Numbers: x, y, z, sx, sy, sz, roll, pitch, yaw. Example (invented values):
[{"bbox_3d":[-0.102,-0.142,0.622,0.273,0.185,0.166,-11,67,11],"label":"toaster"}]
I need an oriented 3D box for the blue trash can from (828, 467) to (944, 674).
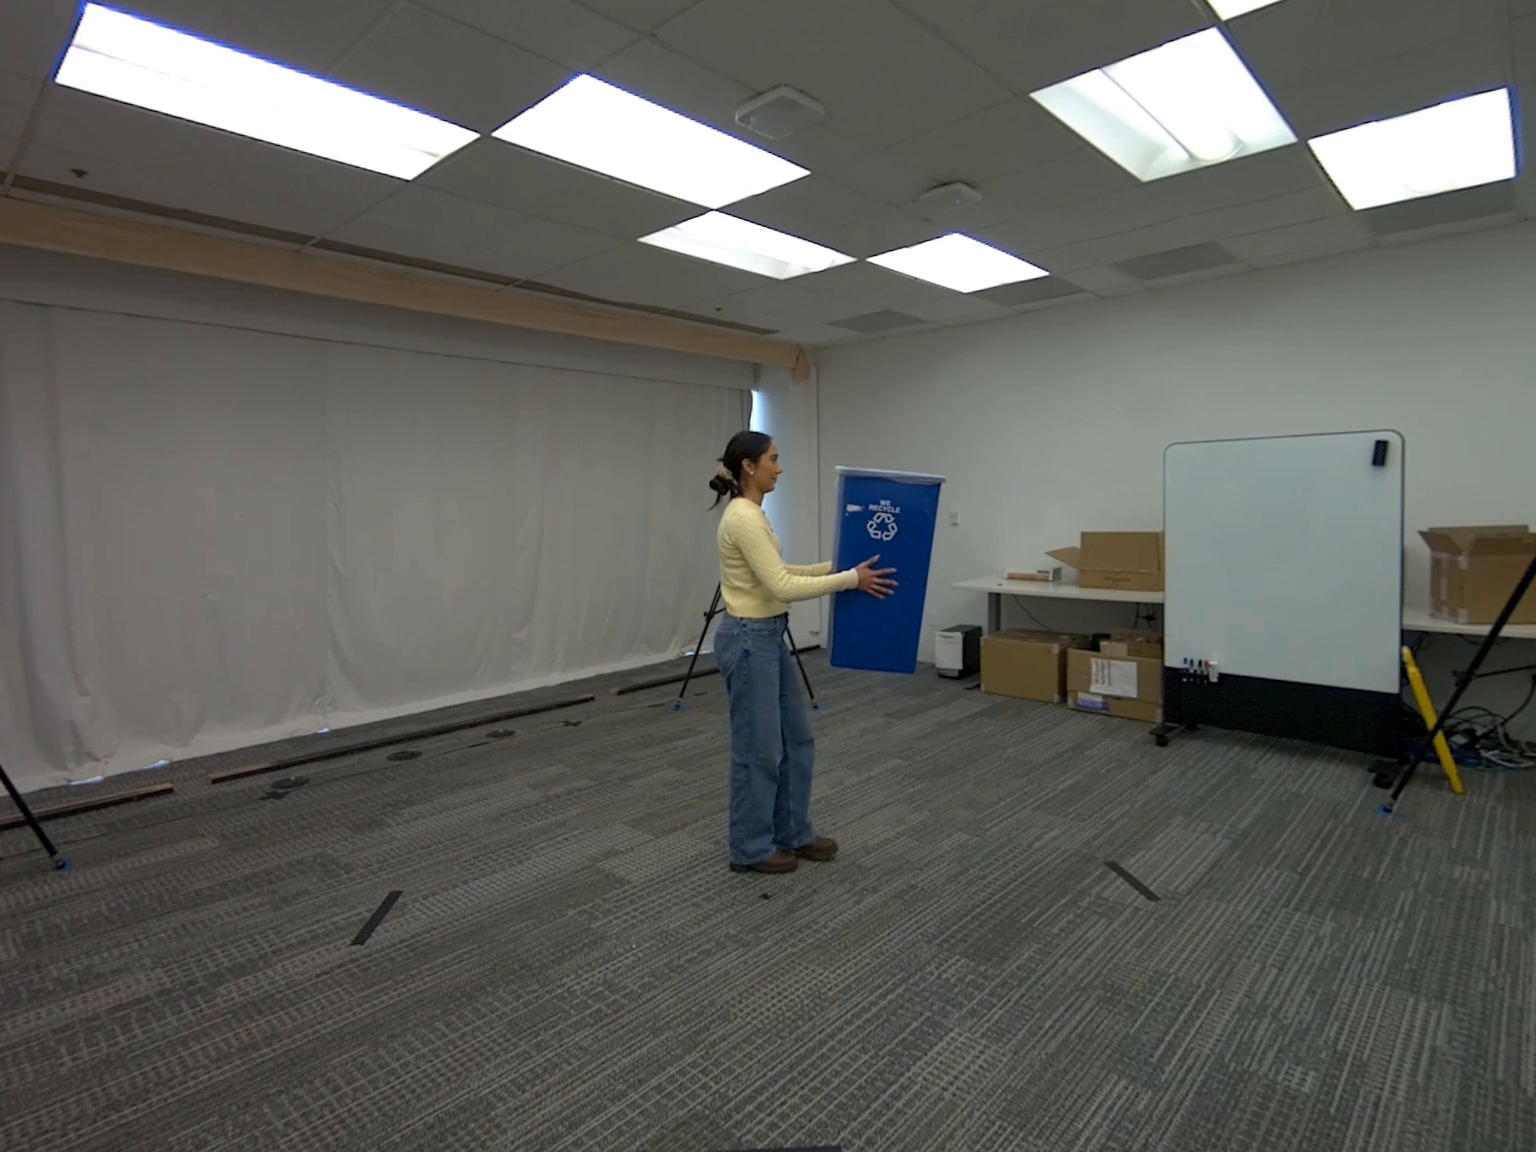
[{"bbox_3d":[0.423,-0.037,3.125,0.375,0.710,0.378,4,7,2],"label":"blue trash can"}]
